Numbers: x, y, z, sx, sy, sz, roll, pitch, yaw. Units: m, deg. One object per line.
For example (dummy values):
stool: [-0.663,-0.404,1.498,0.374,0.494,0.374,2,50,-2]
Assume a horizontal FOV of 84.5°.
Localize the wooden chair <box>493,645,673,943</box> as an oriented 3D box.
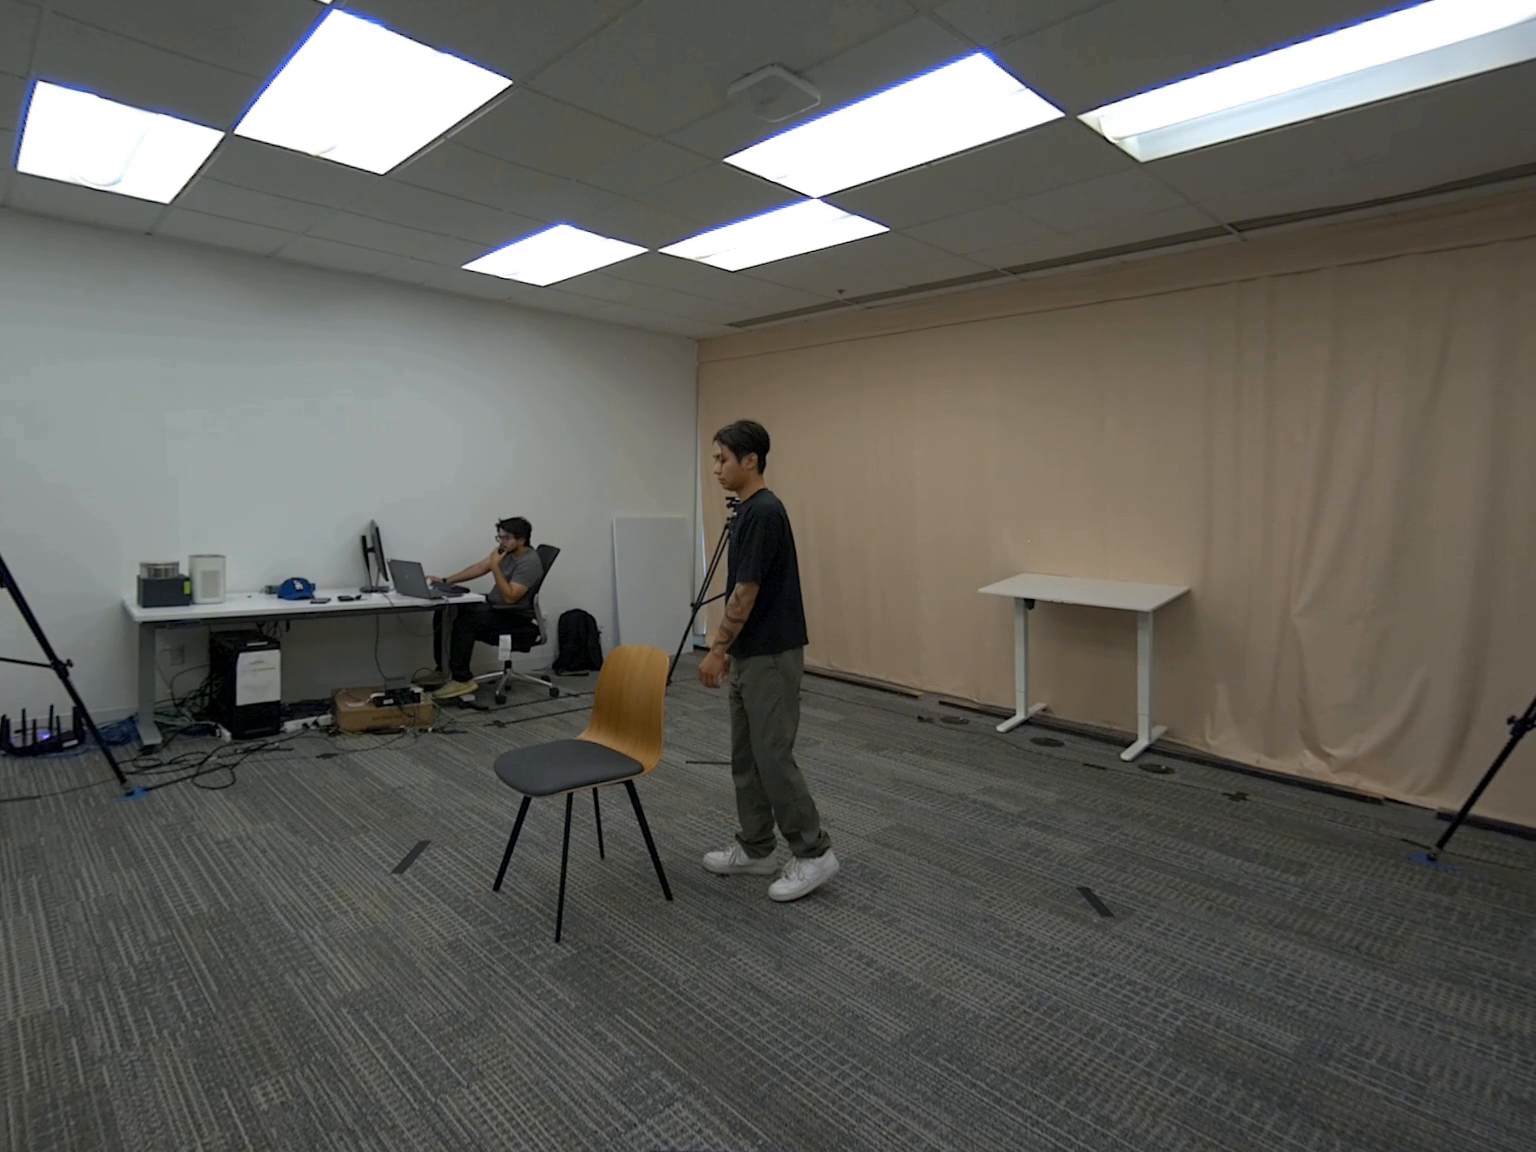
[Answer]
wooden chair: [-0.645,0.689,2.882,0.510,0.877,0.490,4,1,-43]
